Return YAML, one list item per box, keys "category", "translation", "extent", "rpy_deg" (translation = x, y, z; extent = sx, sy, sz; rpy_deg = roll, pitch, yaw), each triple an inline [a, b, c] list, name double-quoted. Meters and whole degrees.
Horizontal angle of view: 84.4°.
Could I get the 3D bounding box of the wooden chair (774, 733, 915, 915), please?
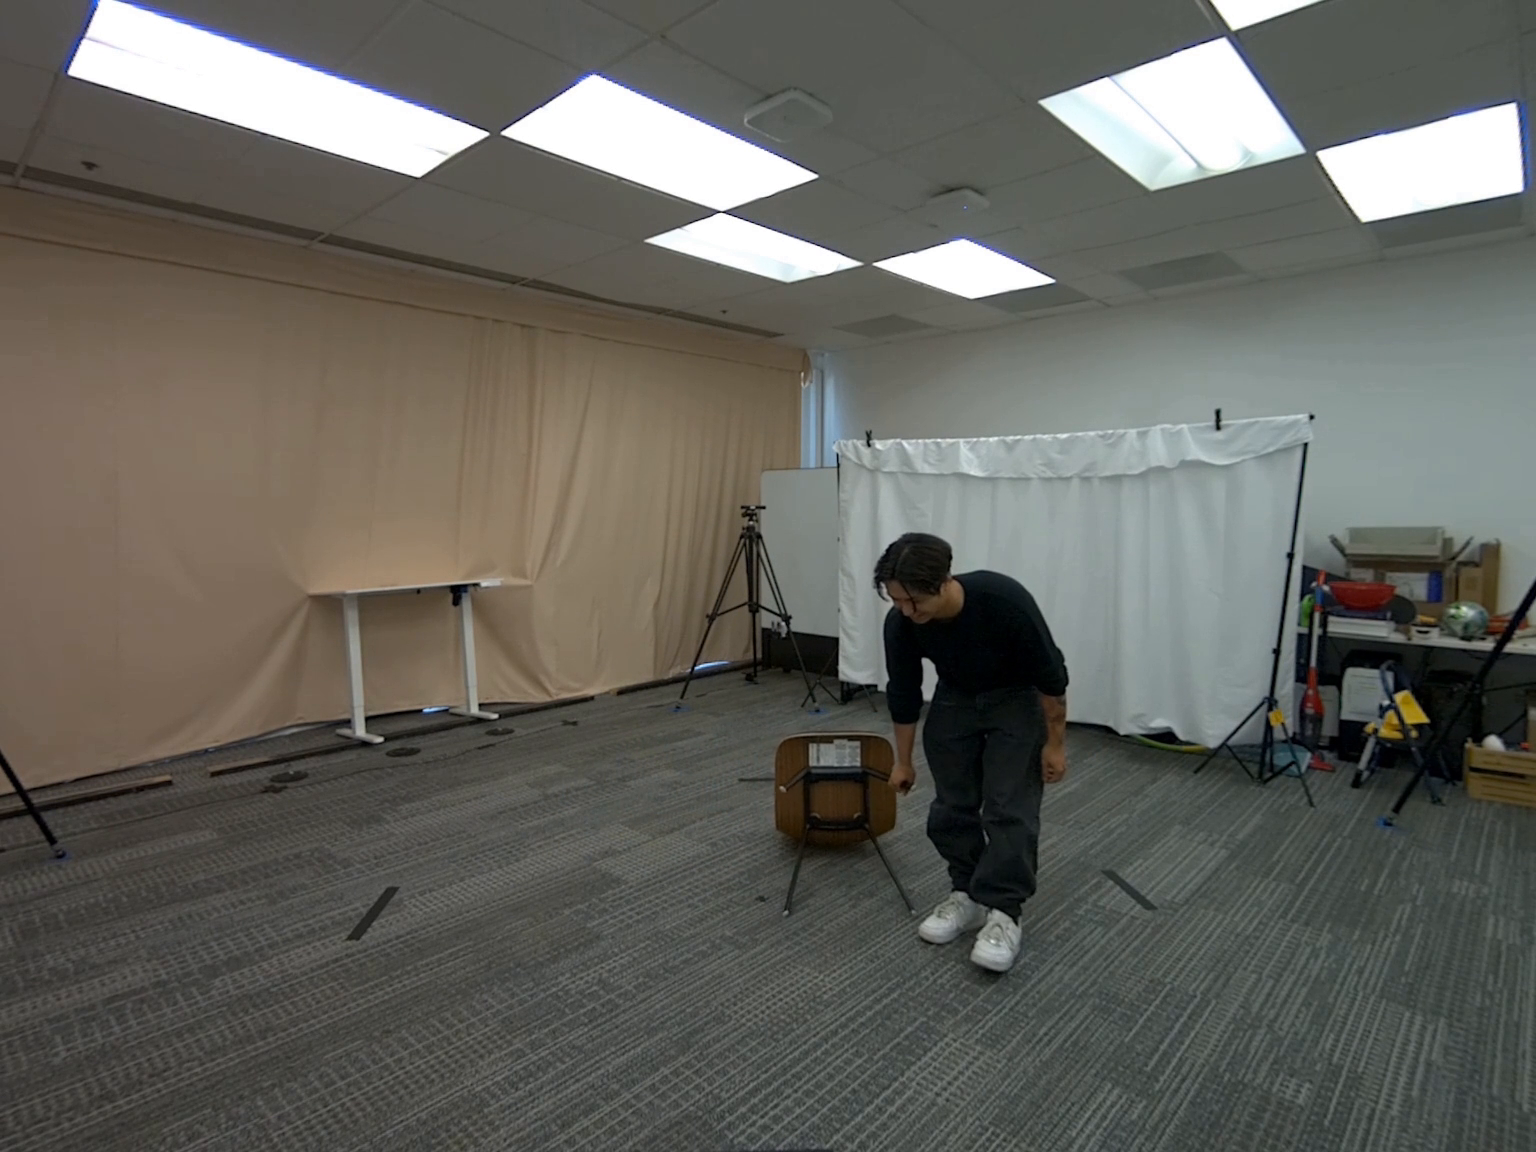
- category: "wooden chair"
  translation: [0.271, 0.857, 3.243]
  extent: [0.479, 0.522, 0.877]
  rpy_deg: [-2, 3, 0]
